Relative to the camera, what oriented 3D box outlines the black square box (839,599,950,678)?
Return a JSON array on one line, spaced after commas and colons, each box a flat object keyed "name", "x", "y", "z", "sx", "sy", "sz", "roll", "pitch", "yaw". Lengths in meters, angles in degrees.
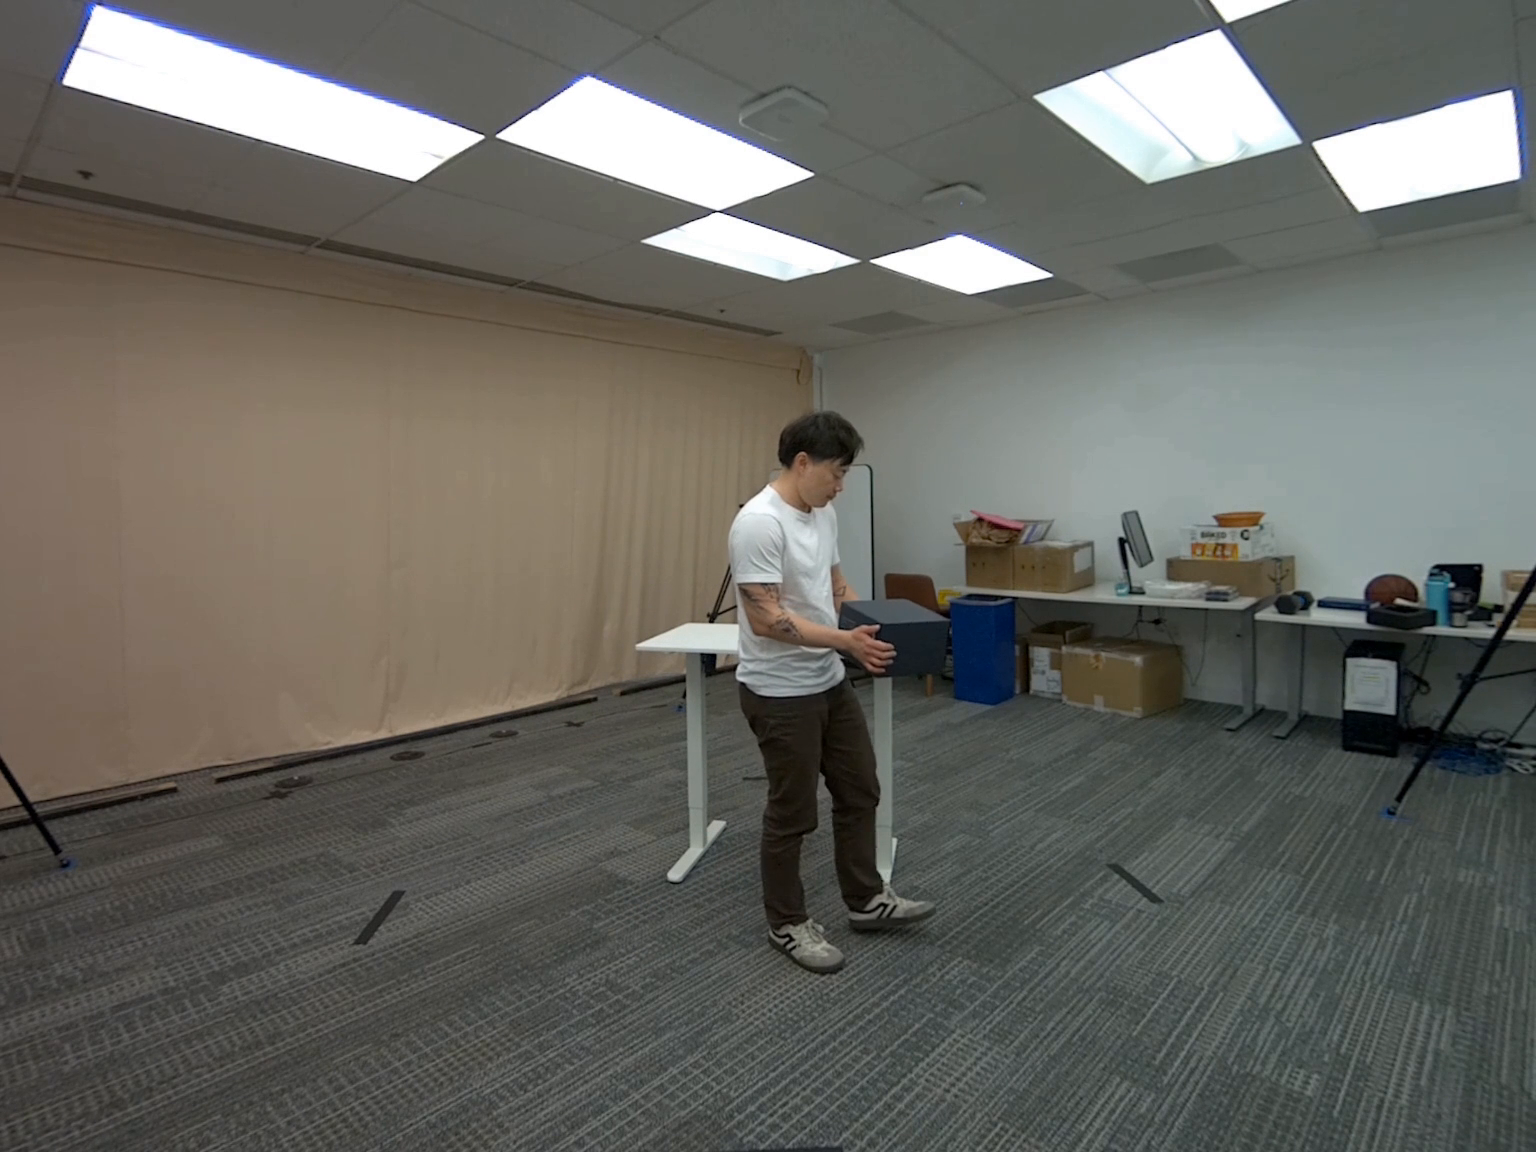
[{"name": "black square box", "x": 0.358, "y": 0.172, "z": 2.371, "sx": 0.222, "sy": 0.155, "sz": 0.223, "roll": -1, "pitch": 13, "yaw": -24}]
